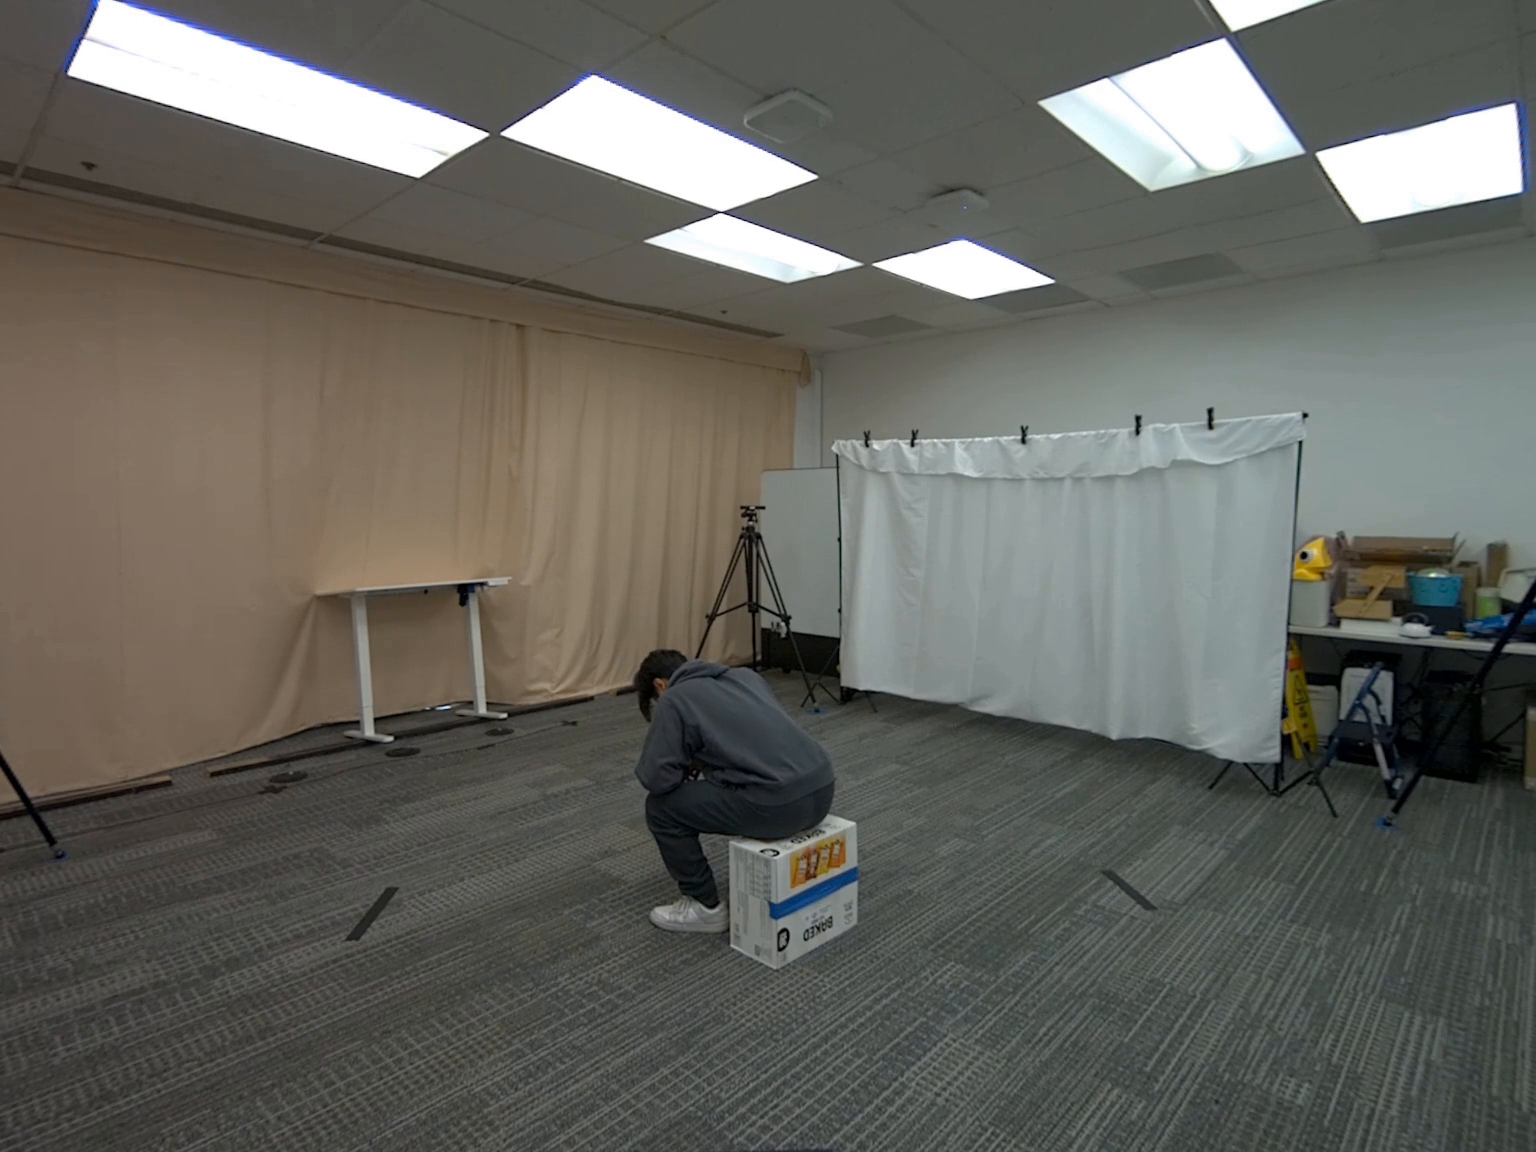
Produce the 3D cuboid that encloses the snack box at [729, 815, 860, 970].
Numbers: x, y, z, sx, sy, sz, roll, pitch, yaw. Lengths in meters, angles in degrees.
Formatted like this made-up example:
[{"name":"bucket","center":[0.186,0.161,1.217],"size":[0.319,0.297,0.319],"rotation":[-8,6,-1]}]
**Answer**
[{"name":"snack box","center":[0.091,0.996,2.725],"size":[0.212,0.340,0.393],"rotation":[1,4,44]}]
